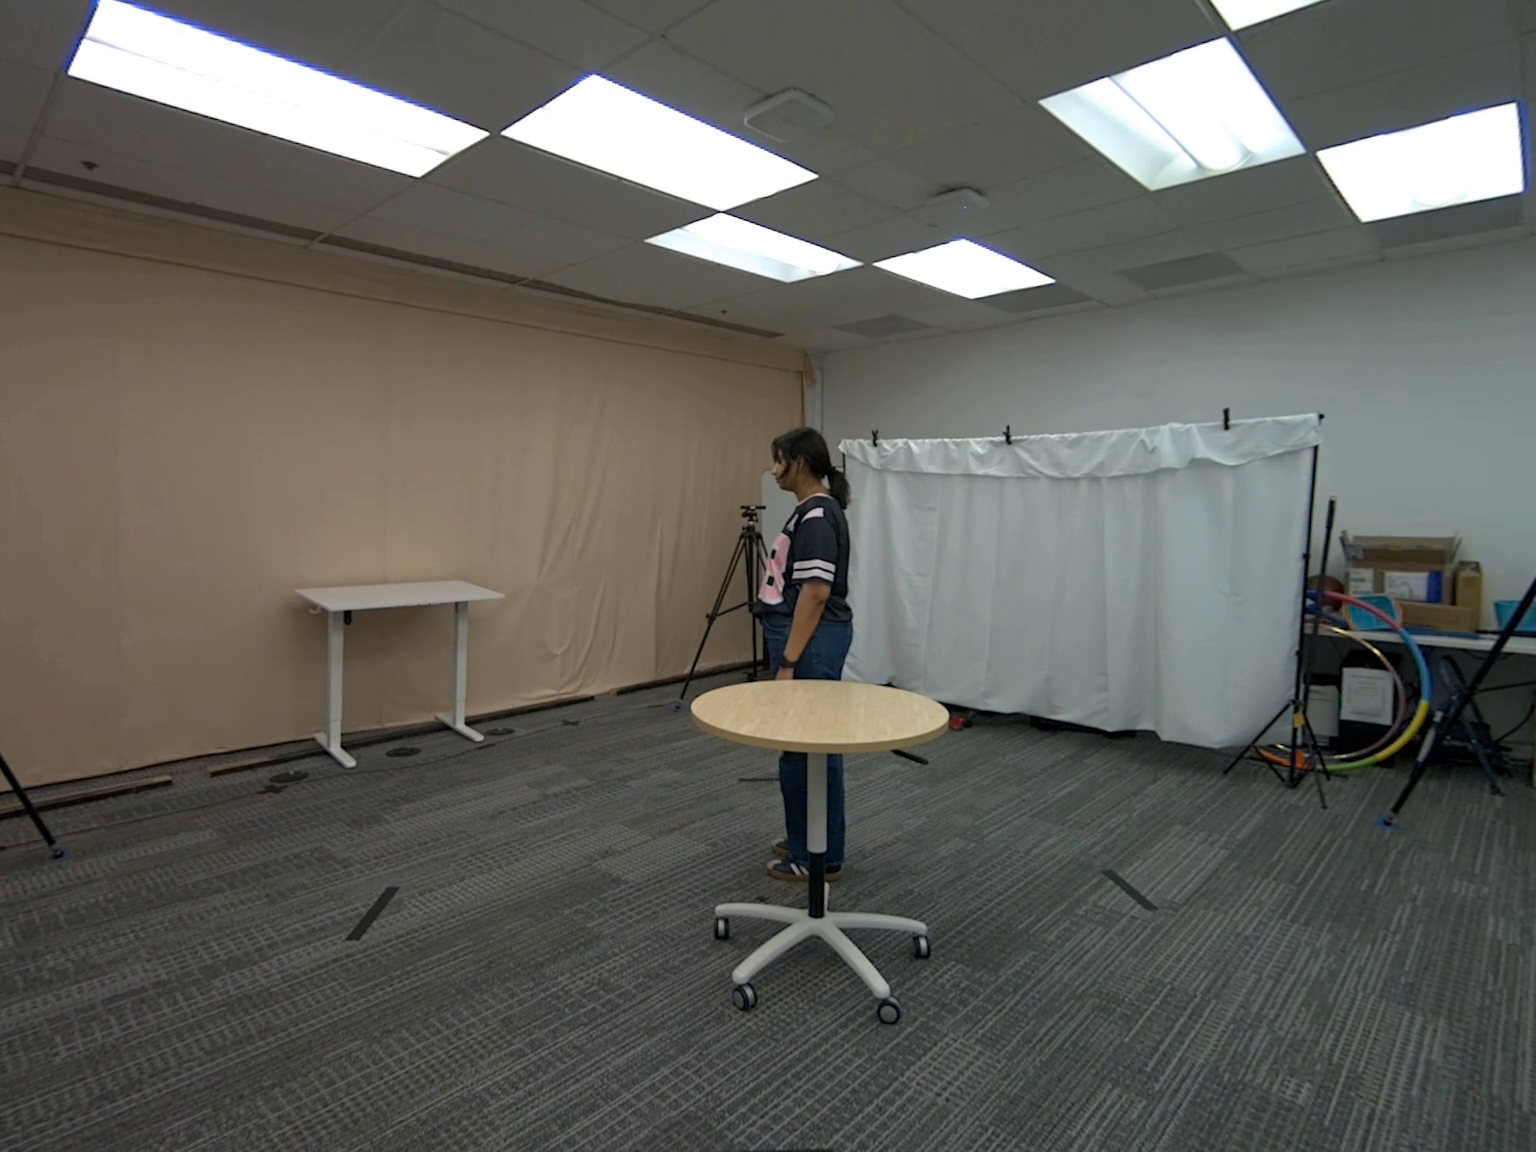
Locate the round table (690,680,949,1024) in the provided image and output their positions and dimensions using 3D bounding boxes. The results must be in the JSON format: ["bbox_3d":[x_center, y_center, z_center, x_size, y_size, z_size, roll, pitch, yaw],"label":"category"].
[{"bbox_3d":[0.167,0.783,2.557,0.784,0.785,0.788,0,4,-2],"label":"round table"}]
